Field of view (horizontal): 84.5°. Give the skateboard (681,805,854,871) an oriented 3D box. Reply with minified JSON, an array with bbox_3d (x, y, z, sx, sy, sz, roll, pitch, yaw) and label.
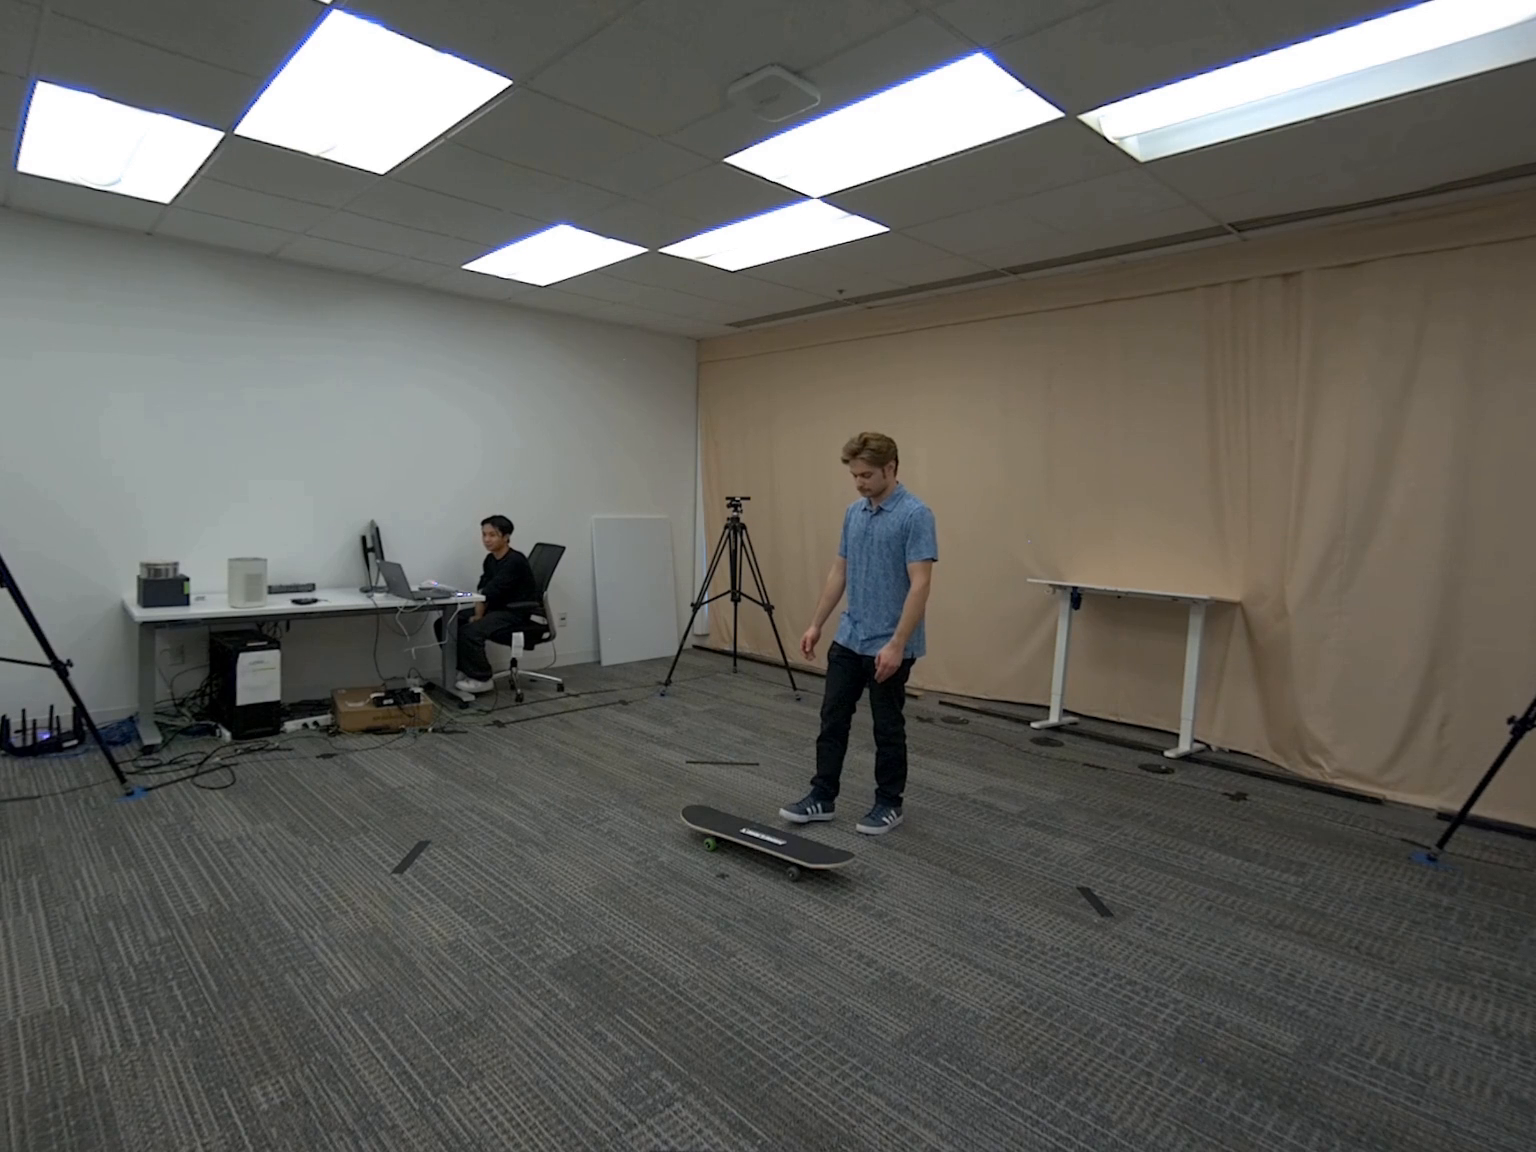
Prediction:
[{"bbox_3d":[-0.028,1.040,3.262,0.805,0.110,0.189,5,5,37],"label":"skateboard"}]
